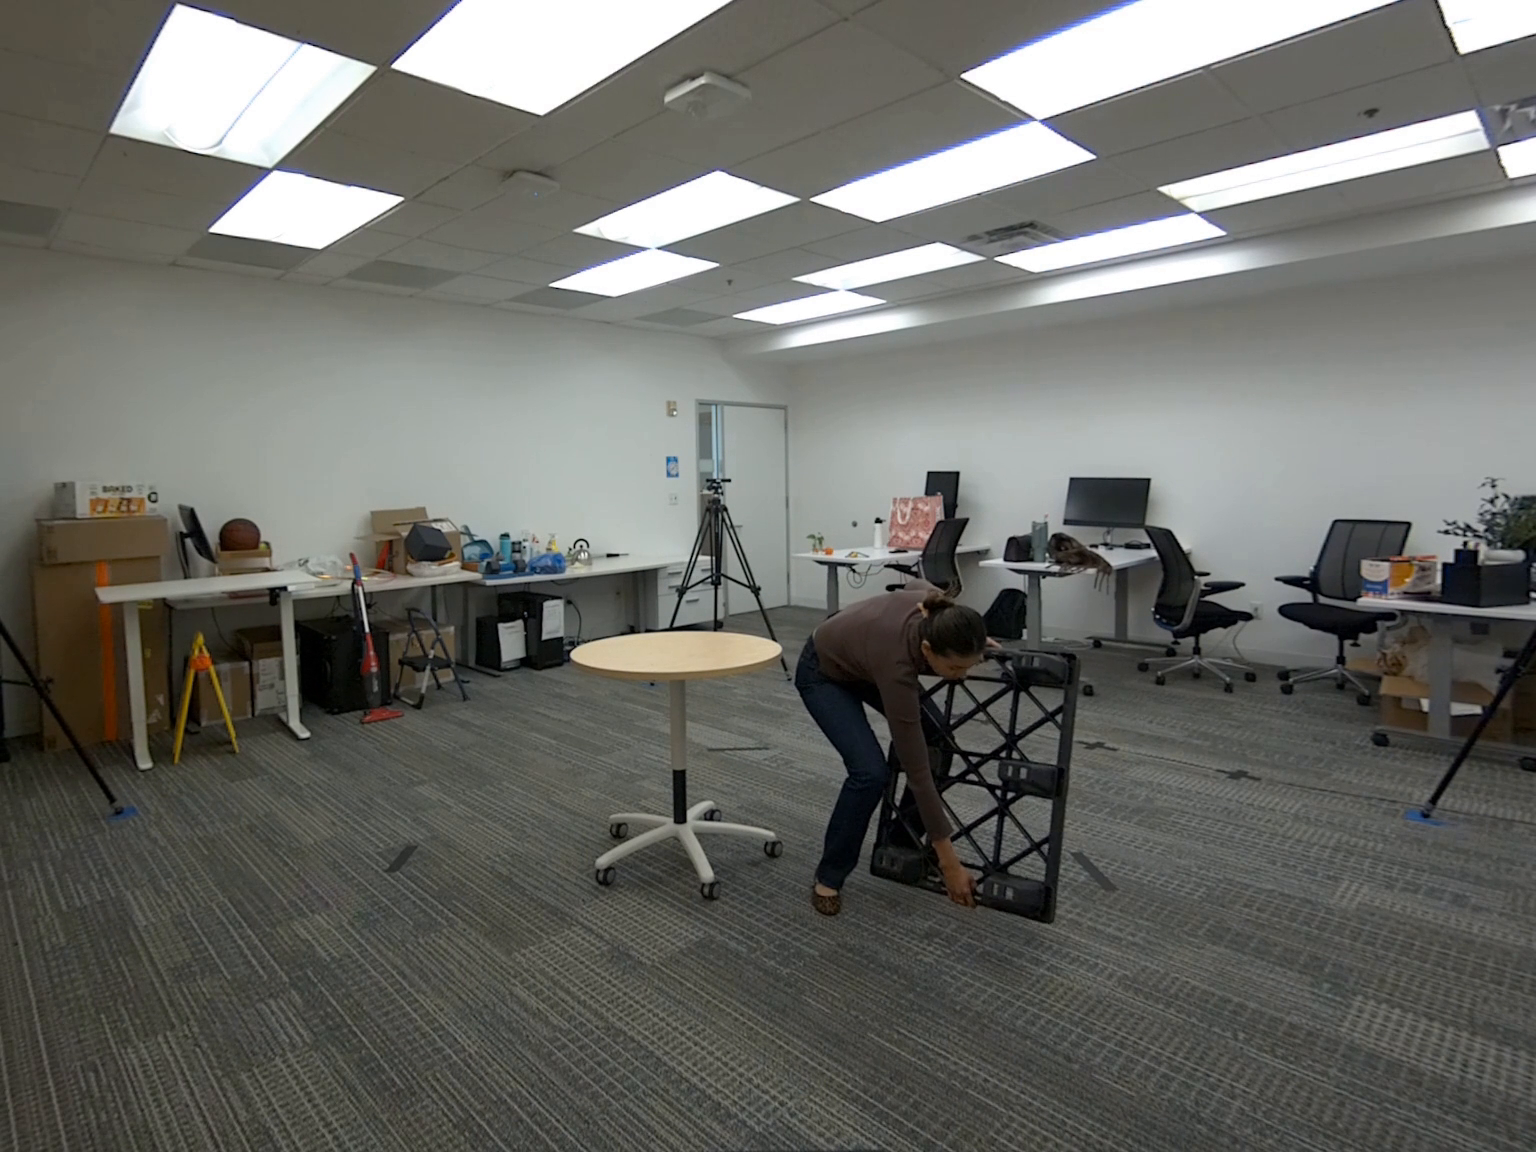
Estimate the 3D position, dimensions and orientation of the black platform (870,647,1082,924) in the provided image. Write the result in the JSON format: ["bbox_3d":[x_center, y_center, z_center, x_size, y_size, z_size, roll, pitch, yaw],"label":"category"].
[{"bbox_3d":[0.643,0.606,2.720,0.622,0.814,0.138,0,-21,38],"label":"black platform"}]
